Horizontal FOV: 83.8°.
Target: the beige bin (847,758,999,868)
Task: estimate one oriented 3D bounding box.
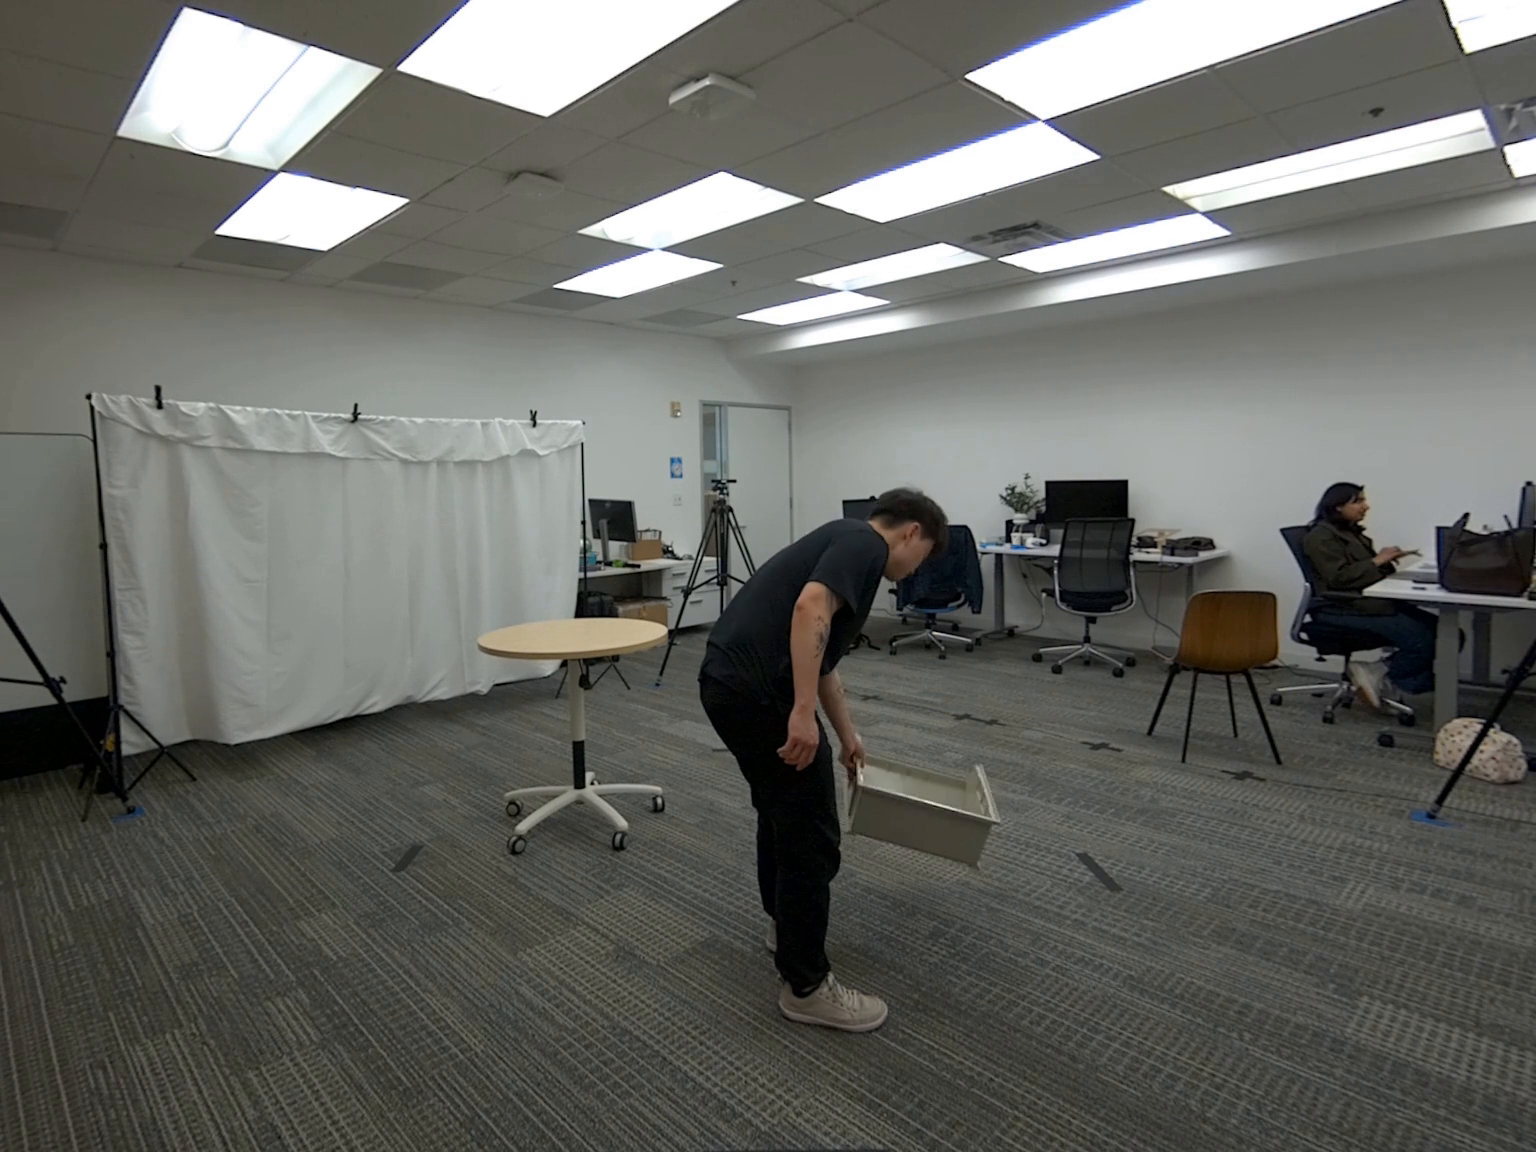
[{"bbox_3d":[0.468,0.693,2.690,0.424,0.187,0.380,13,18,3],"label":"beige bin"}]
